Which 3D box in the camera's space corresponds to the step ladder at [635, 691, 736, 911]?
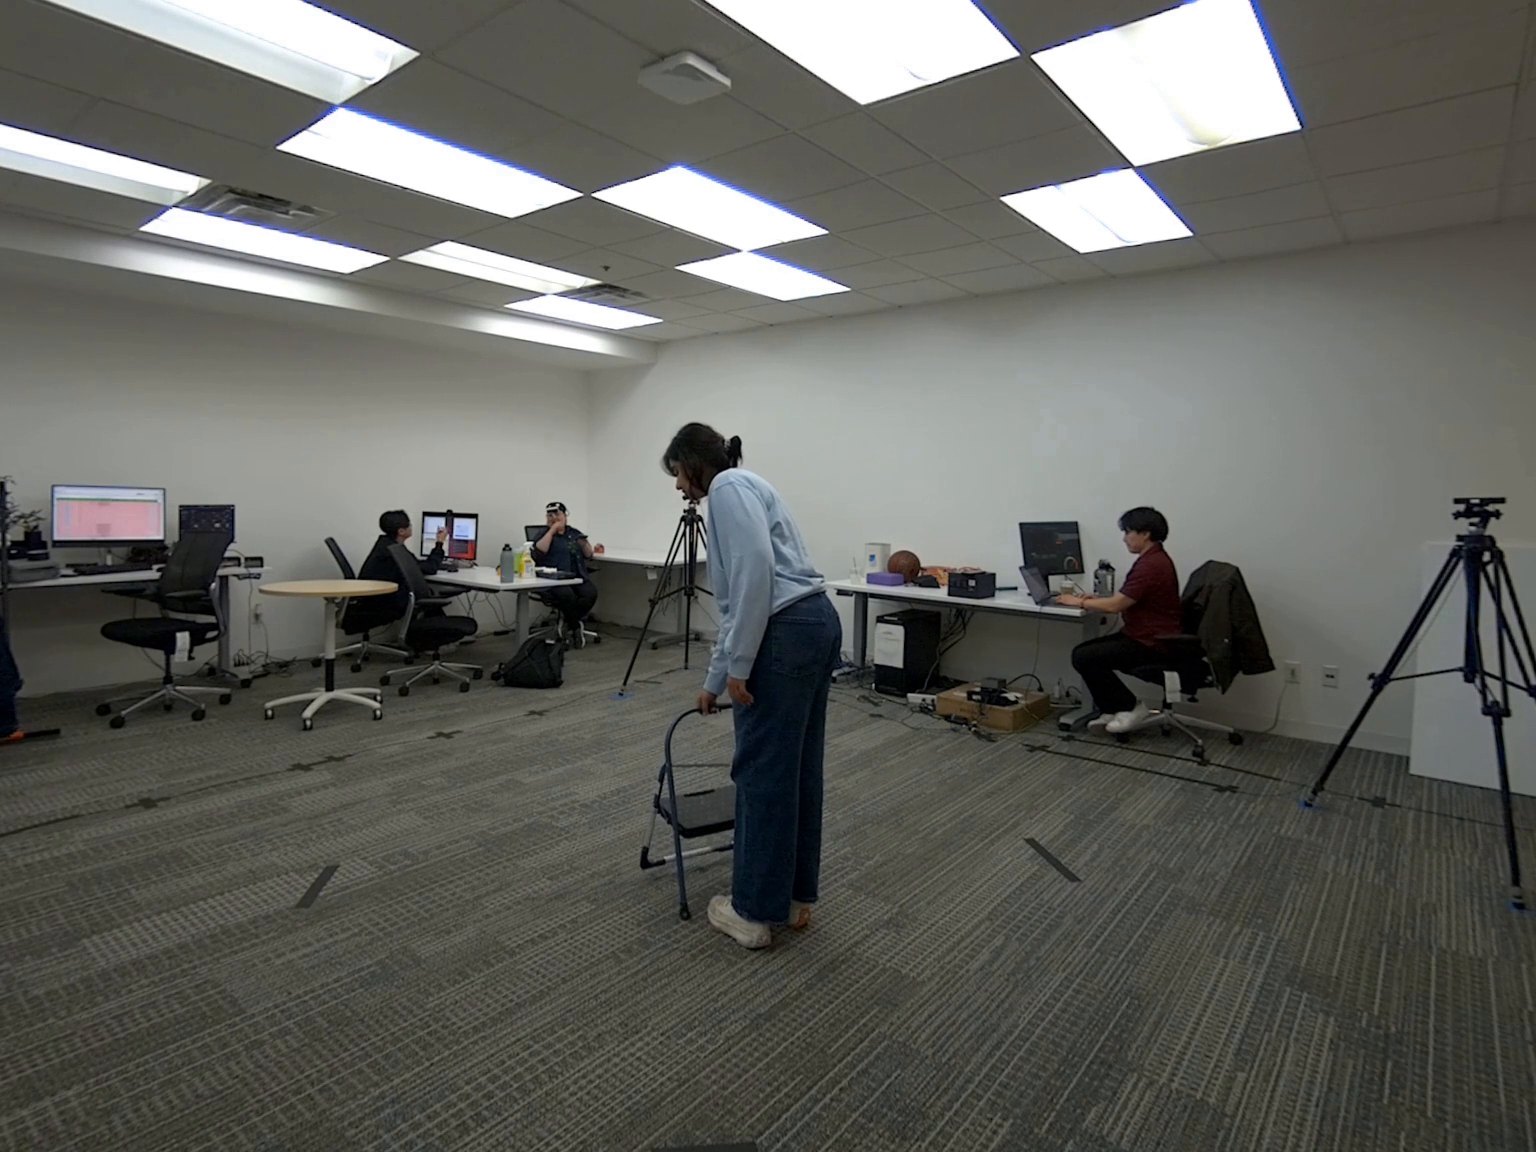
[{"bbox_3d":[-0.179,0.750,2.953,0.418,0.603,0.361,0,8,-34],"label":"step ladder"}]
